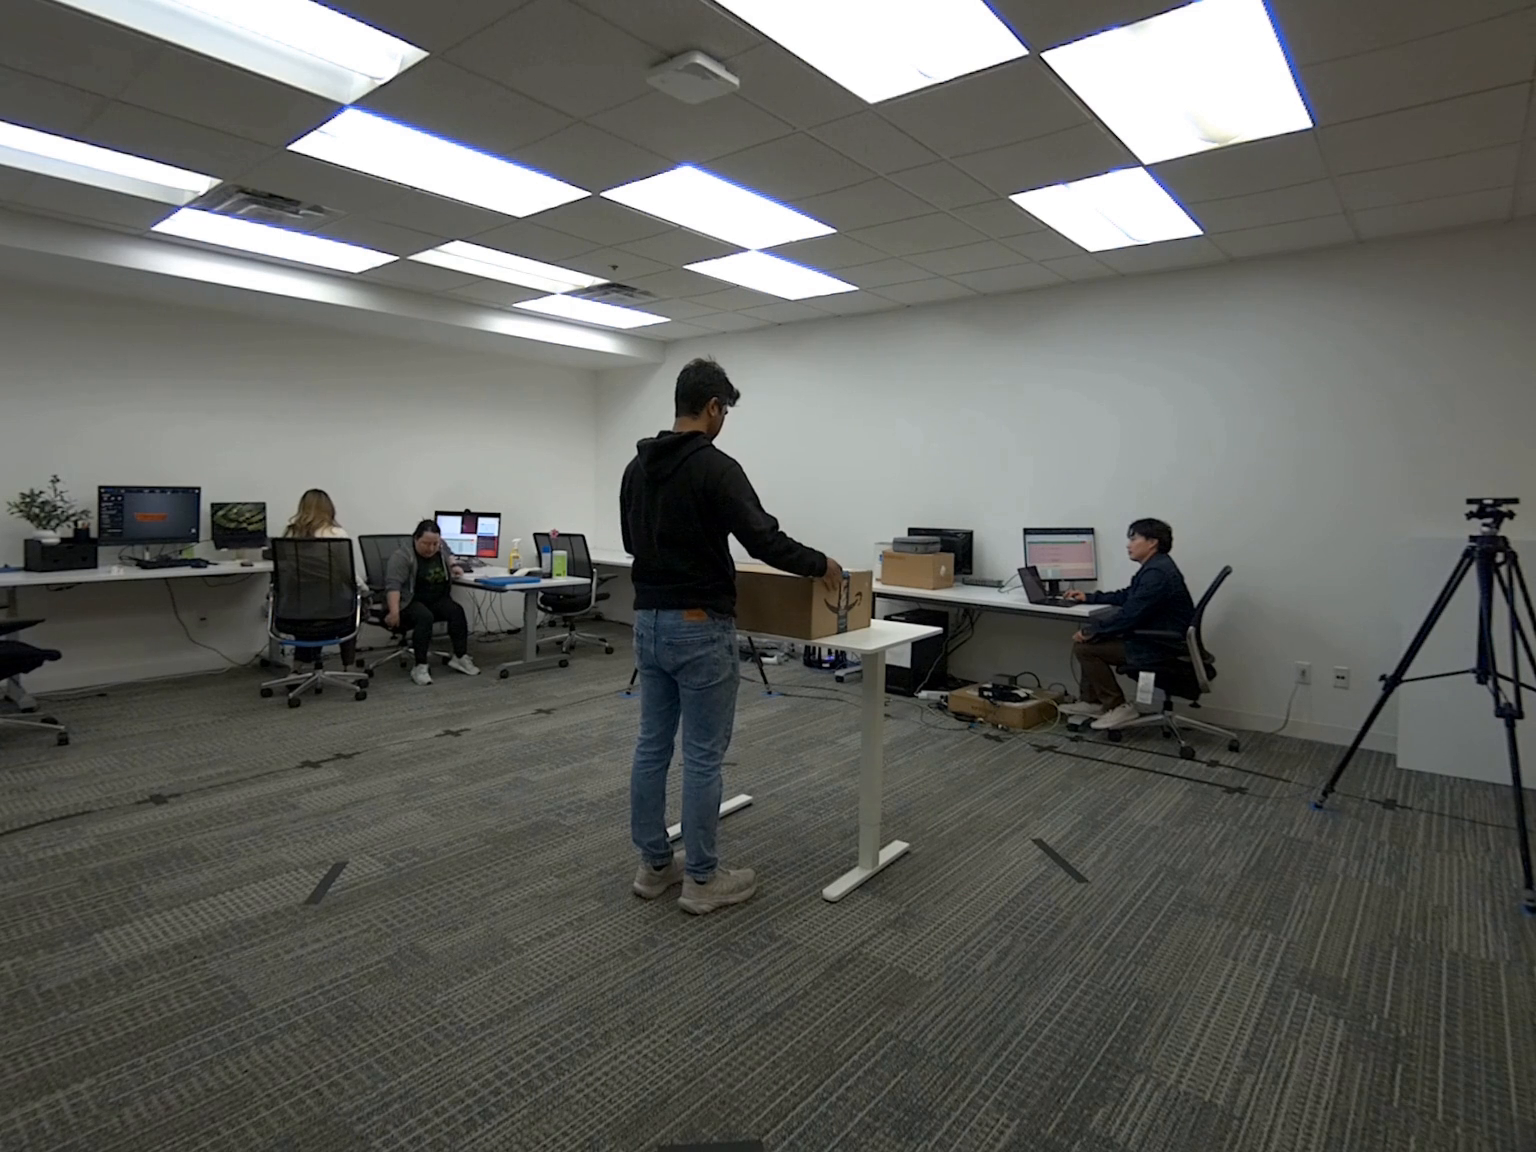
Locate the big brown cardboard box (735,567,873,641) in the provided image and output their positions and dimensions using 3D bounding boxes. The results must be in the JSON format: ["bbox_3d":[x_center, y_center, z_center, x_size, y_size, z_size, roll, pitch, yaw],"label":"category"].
[{"bbox_3d":[0.033,0.068,3.199,0.608,0.232,0.406,4,6,37],"label":"big brown cardboard box"}]
